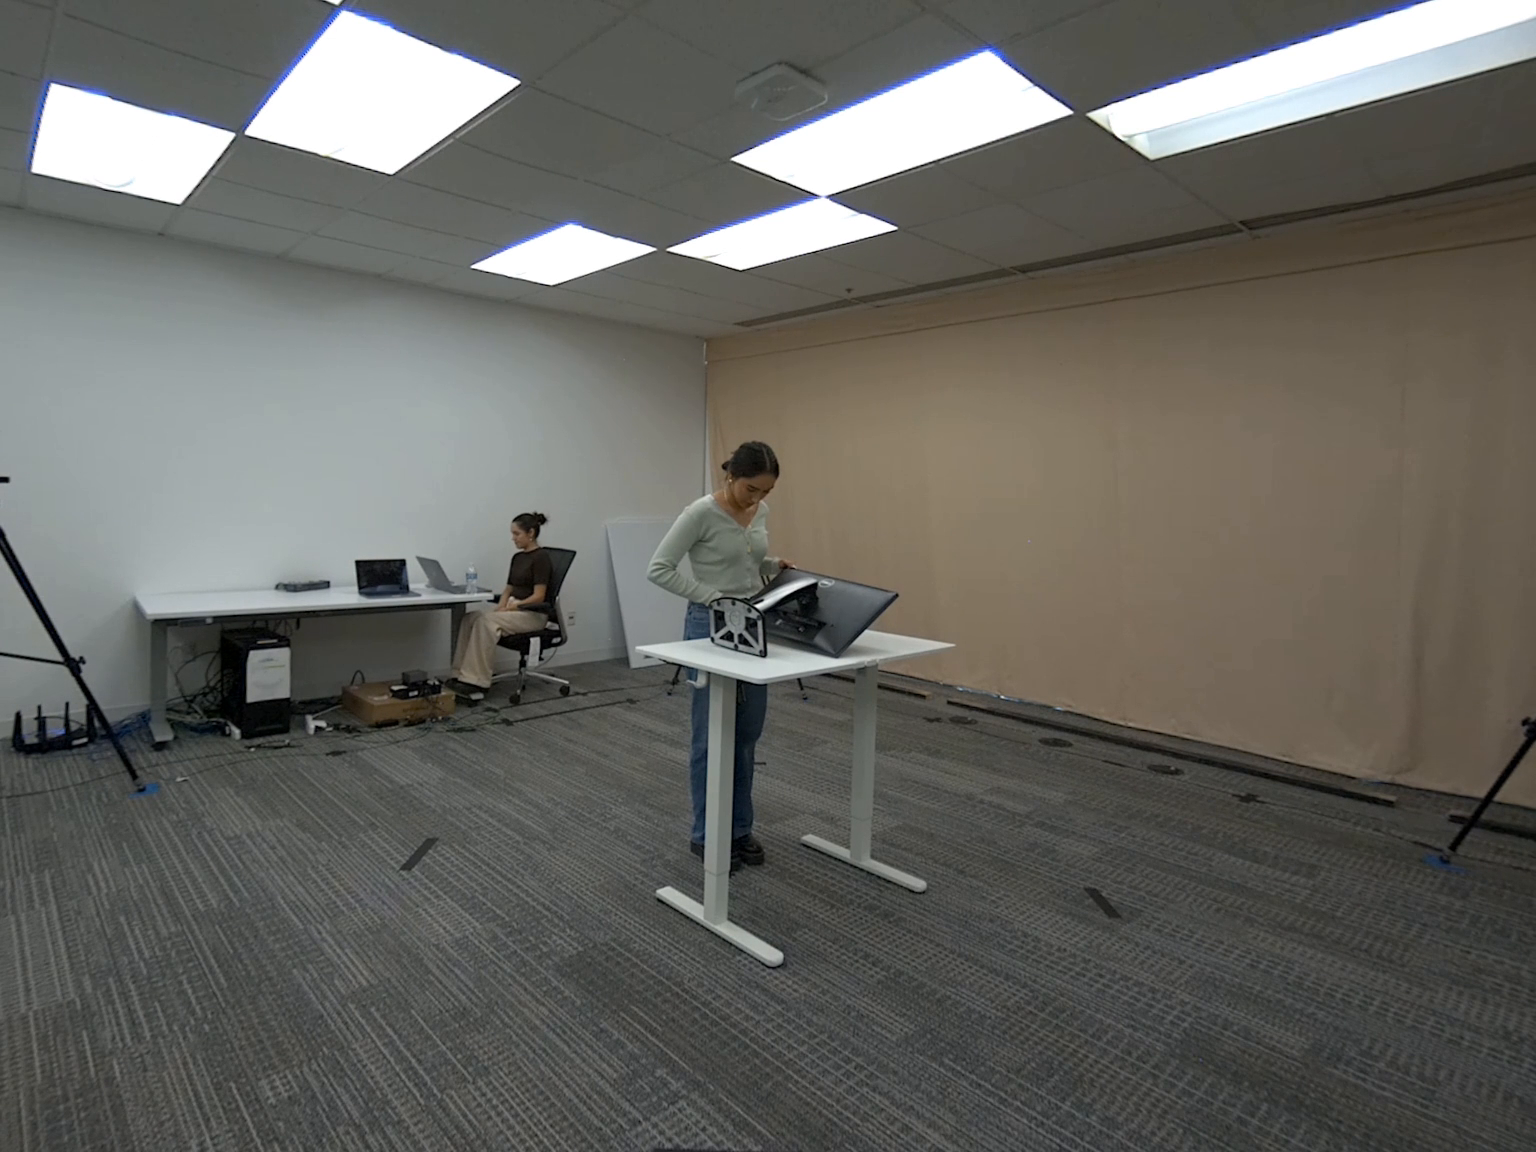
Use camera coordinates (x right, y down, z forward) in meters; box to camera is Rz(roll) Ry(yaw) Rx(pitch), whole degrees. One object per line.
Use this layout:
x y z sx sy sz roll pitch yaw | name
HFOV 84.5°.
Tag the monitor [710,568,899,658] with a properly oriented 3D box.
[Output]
0.076 0.105 2.897 0.514 0.185 0.555 -17 23 -40 | monitor
